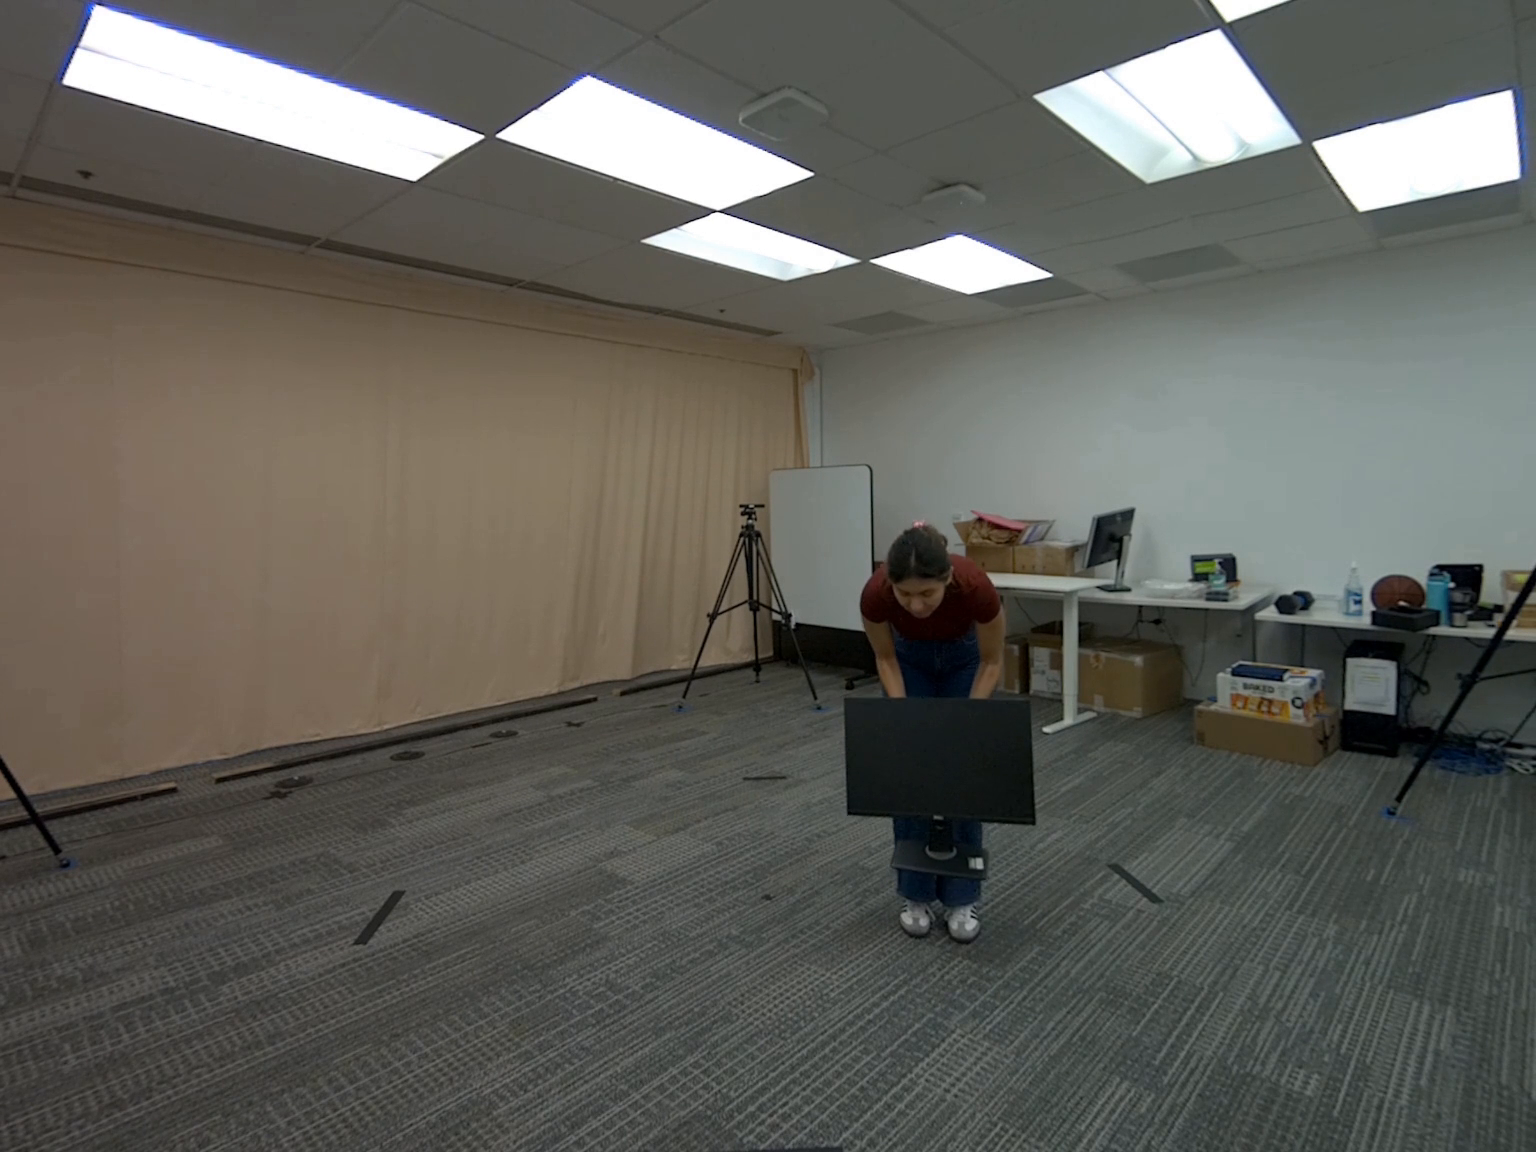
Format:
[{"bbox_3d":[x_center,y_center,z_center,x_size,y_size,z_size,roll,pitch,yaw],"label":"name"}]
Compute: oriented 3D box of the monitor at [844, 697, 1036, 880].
[{"bbox_3d":[0.512,0.621,2.525,0.548,0.519,0.185,-2,10,15],"label":"monitor"}]
